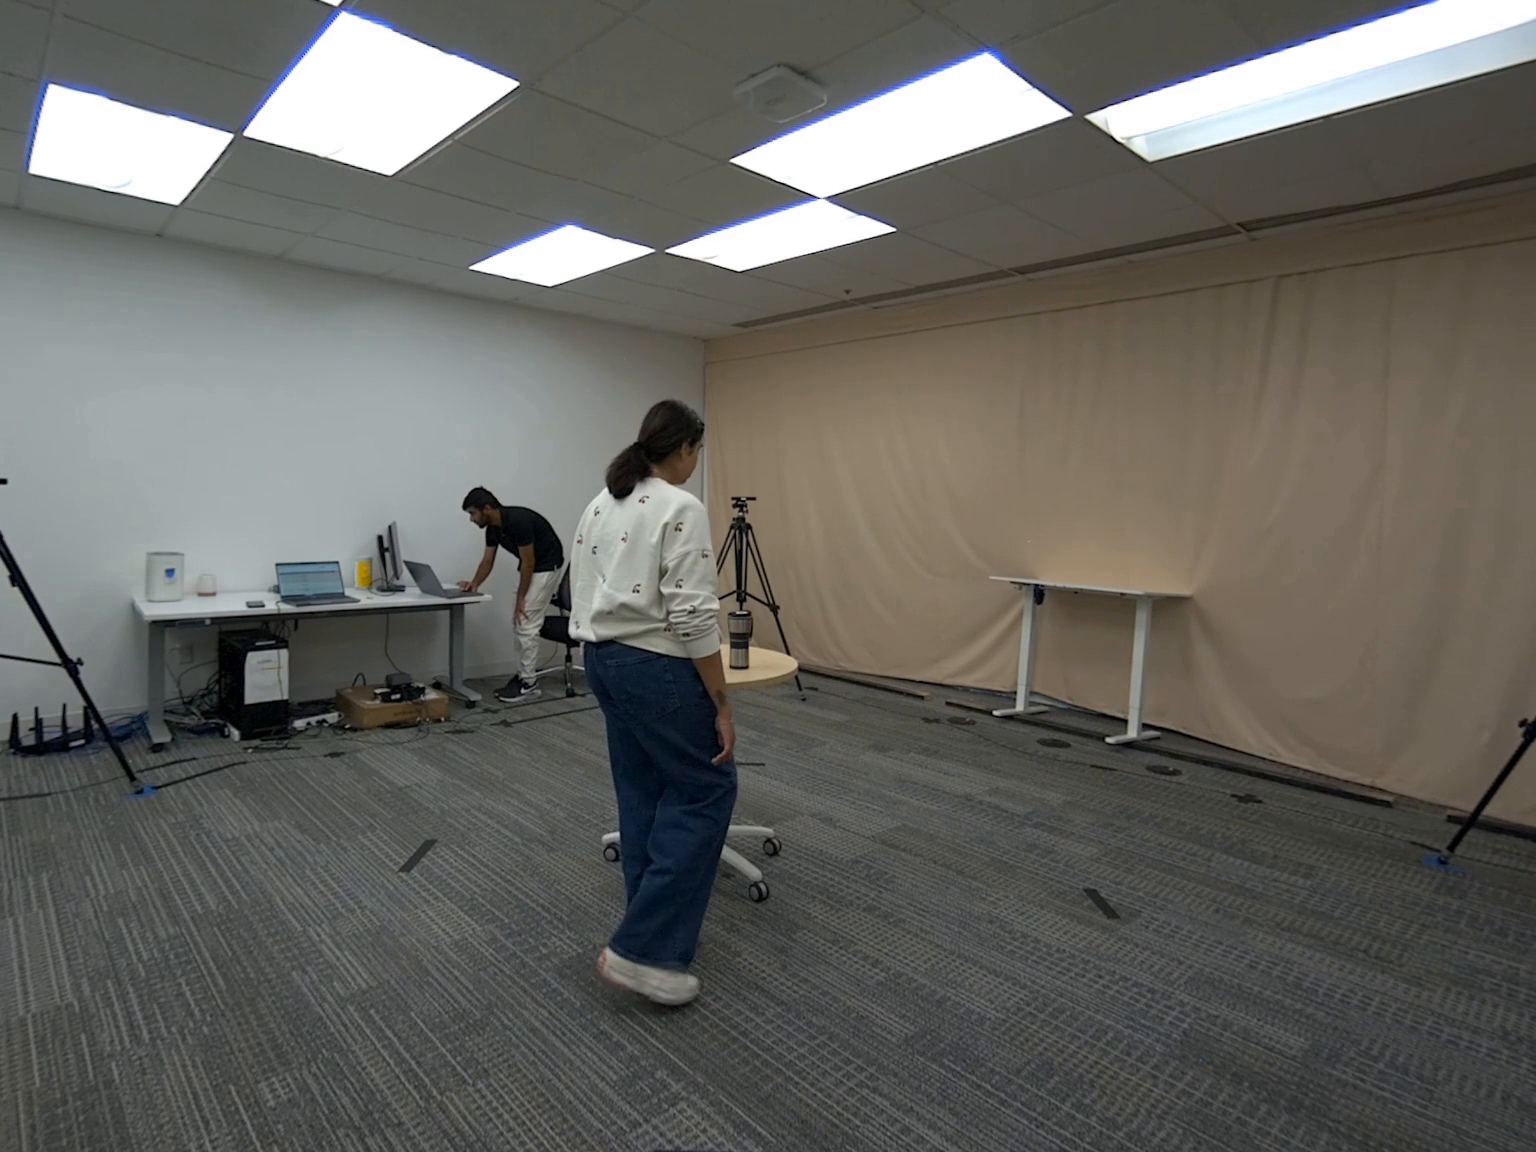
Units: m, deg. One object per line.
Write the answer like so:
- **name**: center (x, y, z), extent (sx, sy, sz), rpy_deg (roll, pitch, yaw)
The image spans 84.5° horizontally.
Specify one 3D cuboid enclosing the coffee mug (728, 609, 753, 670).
- **coffee mug**: center (-0.092, 0.231, 3.031), extent (0.119, 0.203, 0.090), rpy_deg (-4, 2, -38)
